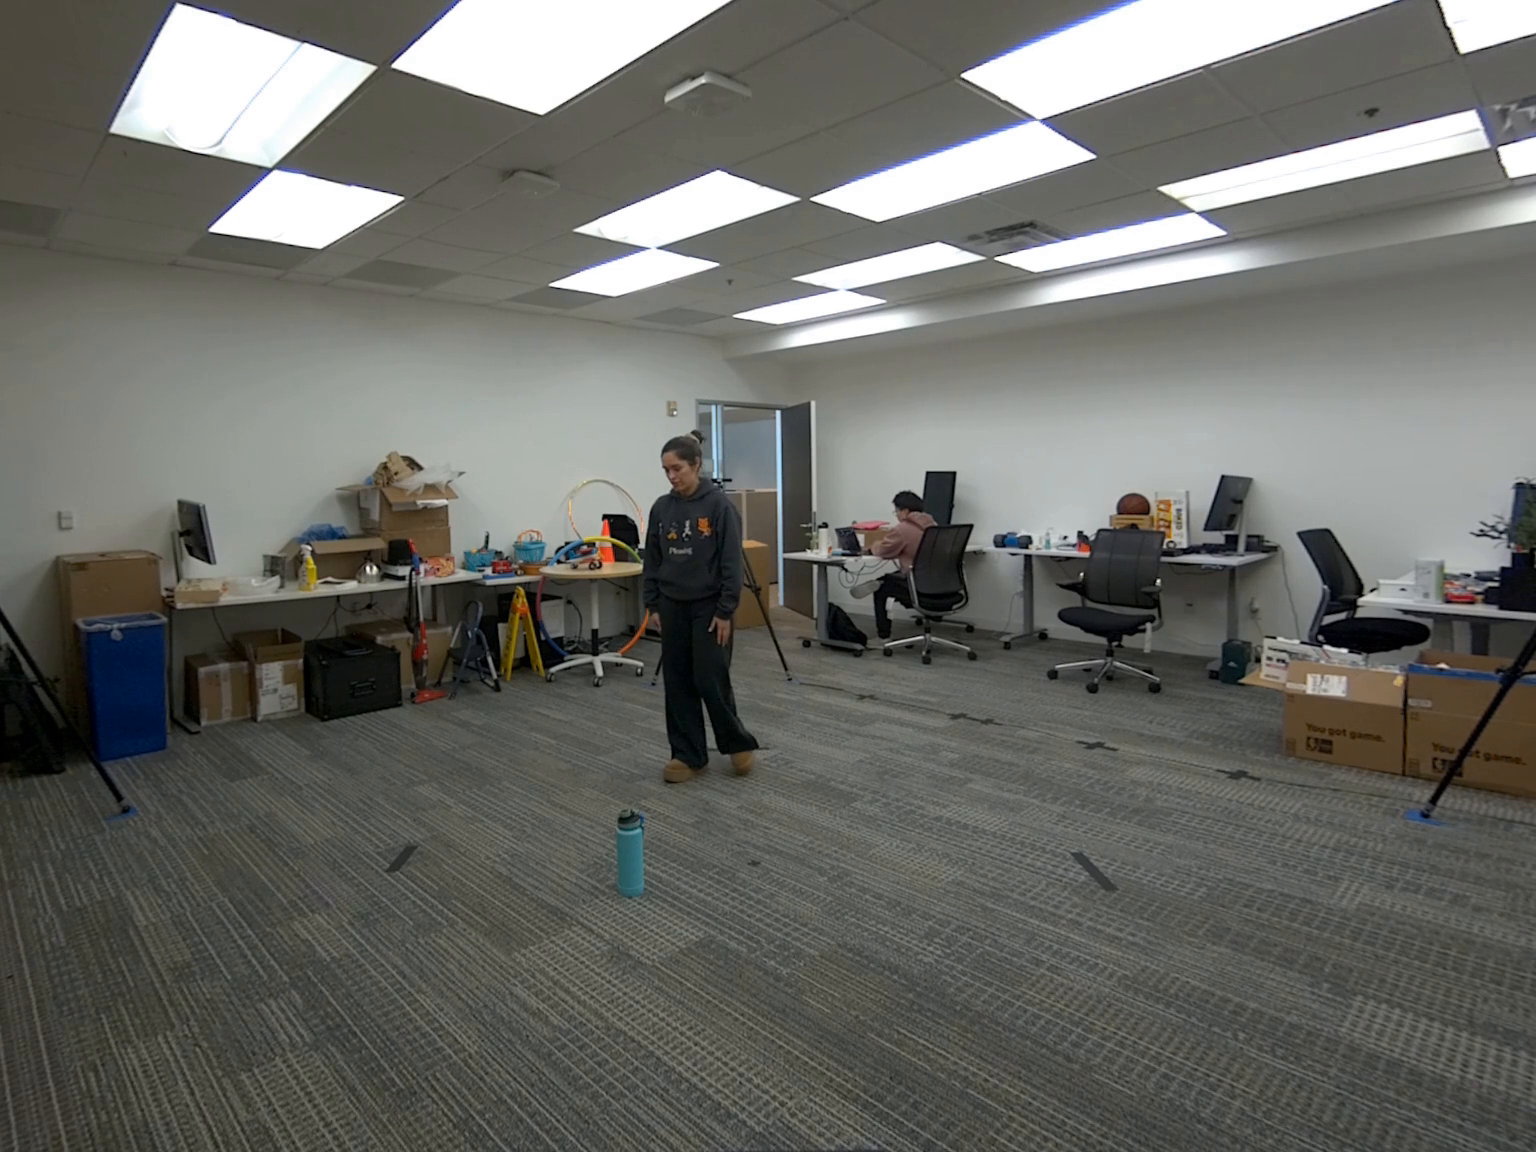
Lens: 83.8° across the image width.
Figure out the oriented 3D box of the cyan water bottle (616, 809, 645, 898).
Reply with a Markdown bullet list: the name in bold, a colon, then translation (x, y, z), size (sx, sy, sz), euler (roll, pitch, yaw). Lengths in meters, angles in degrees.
- **cyan water bottle**: translation (-0.471, 0.940, 2.890), size (0.092, 0.282, 0.093), euler (0, 4, -2)
